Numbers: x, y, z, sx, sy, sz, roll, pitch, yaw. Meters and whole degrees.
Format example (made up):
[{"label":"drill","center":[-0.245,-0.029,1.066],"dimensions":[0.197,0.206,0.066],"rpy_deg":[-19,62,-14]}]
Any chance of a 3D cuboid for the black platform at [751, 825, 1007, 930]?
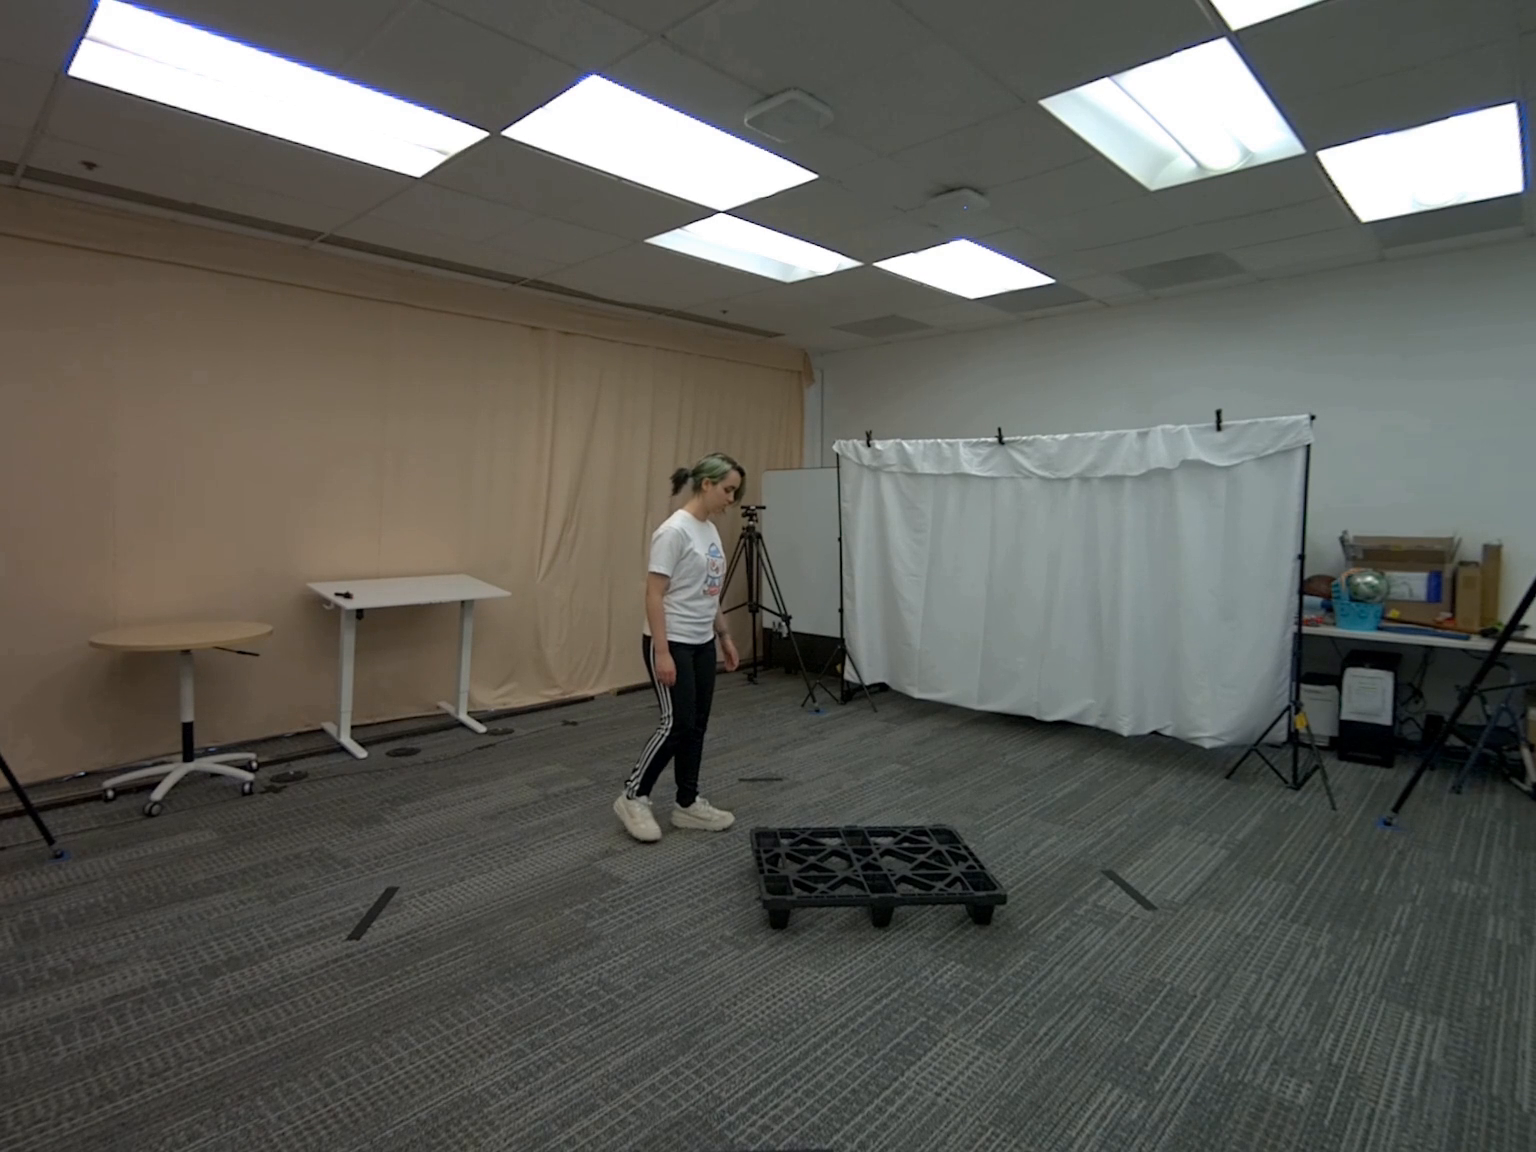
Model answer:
[{"label":"black platform","center":[0.352,1.071,3.010],"dimensions":[0.804,0.143,0.608],"rpy_deg":[0,4,-3]}]
